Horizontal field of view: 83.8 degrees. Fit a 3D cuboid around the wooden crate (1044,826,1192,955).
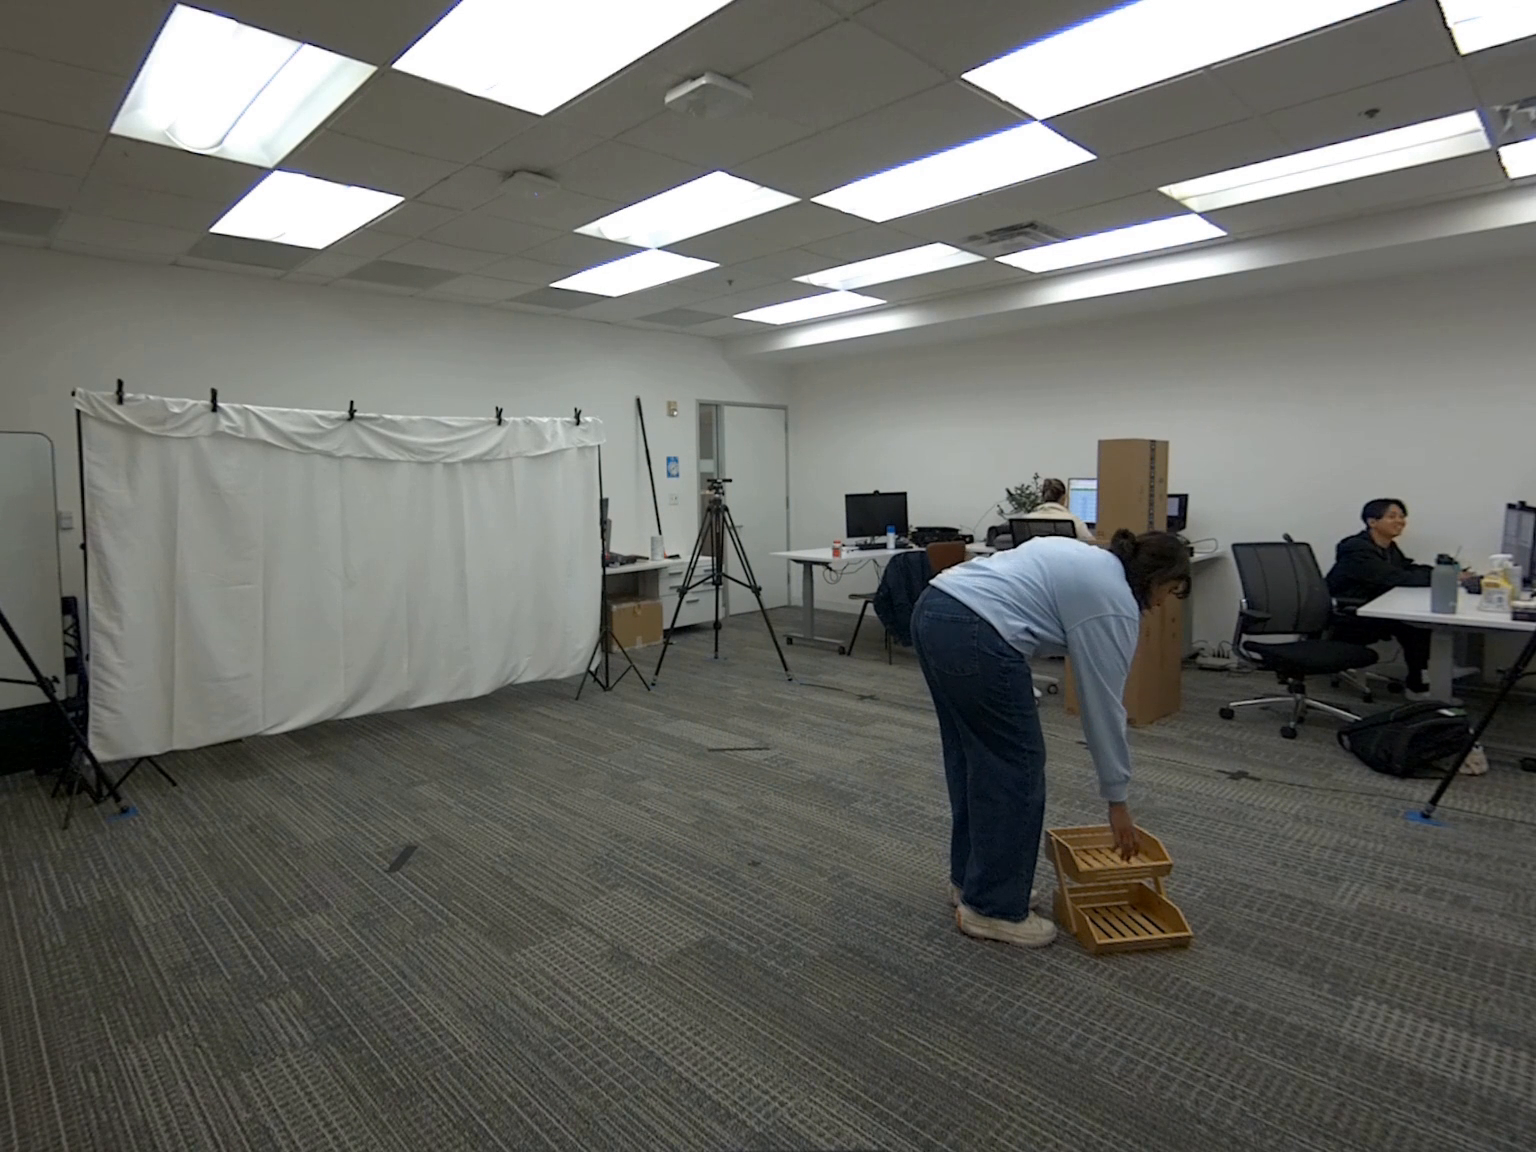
[{"bbox_3d":[1.067,0.945,2.609,0.322,0.272,0.305,-2,4,-9],"label":"wooden crate"}]
